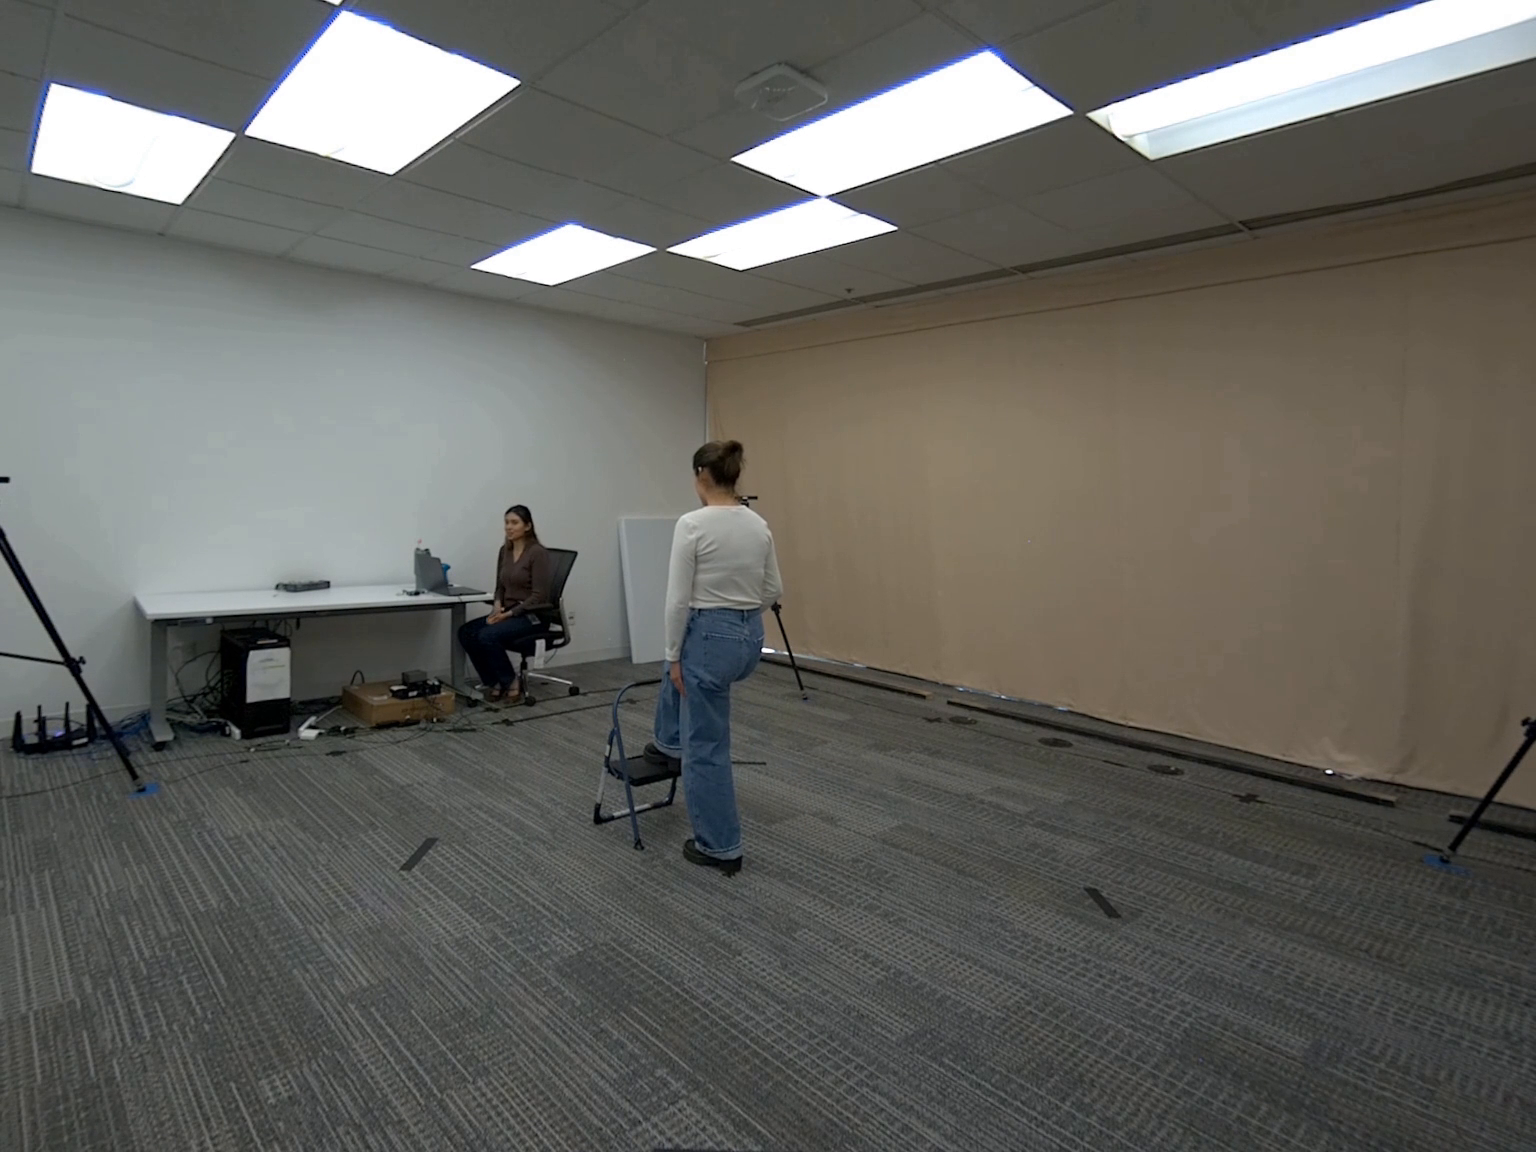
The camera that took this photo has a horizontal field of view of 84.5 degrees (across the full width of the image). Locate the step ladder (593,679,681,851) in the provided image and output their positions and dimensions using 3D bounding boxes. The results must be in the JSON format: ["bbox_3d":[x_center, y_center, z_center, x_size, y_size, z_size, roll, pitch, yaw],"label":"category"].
[{"bbox_3d":[-0.475,0.755,3.556,0.420,0.605,0.358,-1,4,-44],"label":"step ladder"}]
